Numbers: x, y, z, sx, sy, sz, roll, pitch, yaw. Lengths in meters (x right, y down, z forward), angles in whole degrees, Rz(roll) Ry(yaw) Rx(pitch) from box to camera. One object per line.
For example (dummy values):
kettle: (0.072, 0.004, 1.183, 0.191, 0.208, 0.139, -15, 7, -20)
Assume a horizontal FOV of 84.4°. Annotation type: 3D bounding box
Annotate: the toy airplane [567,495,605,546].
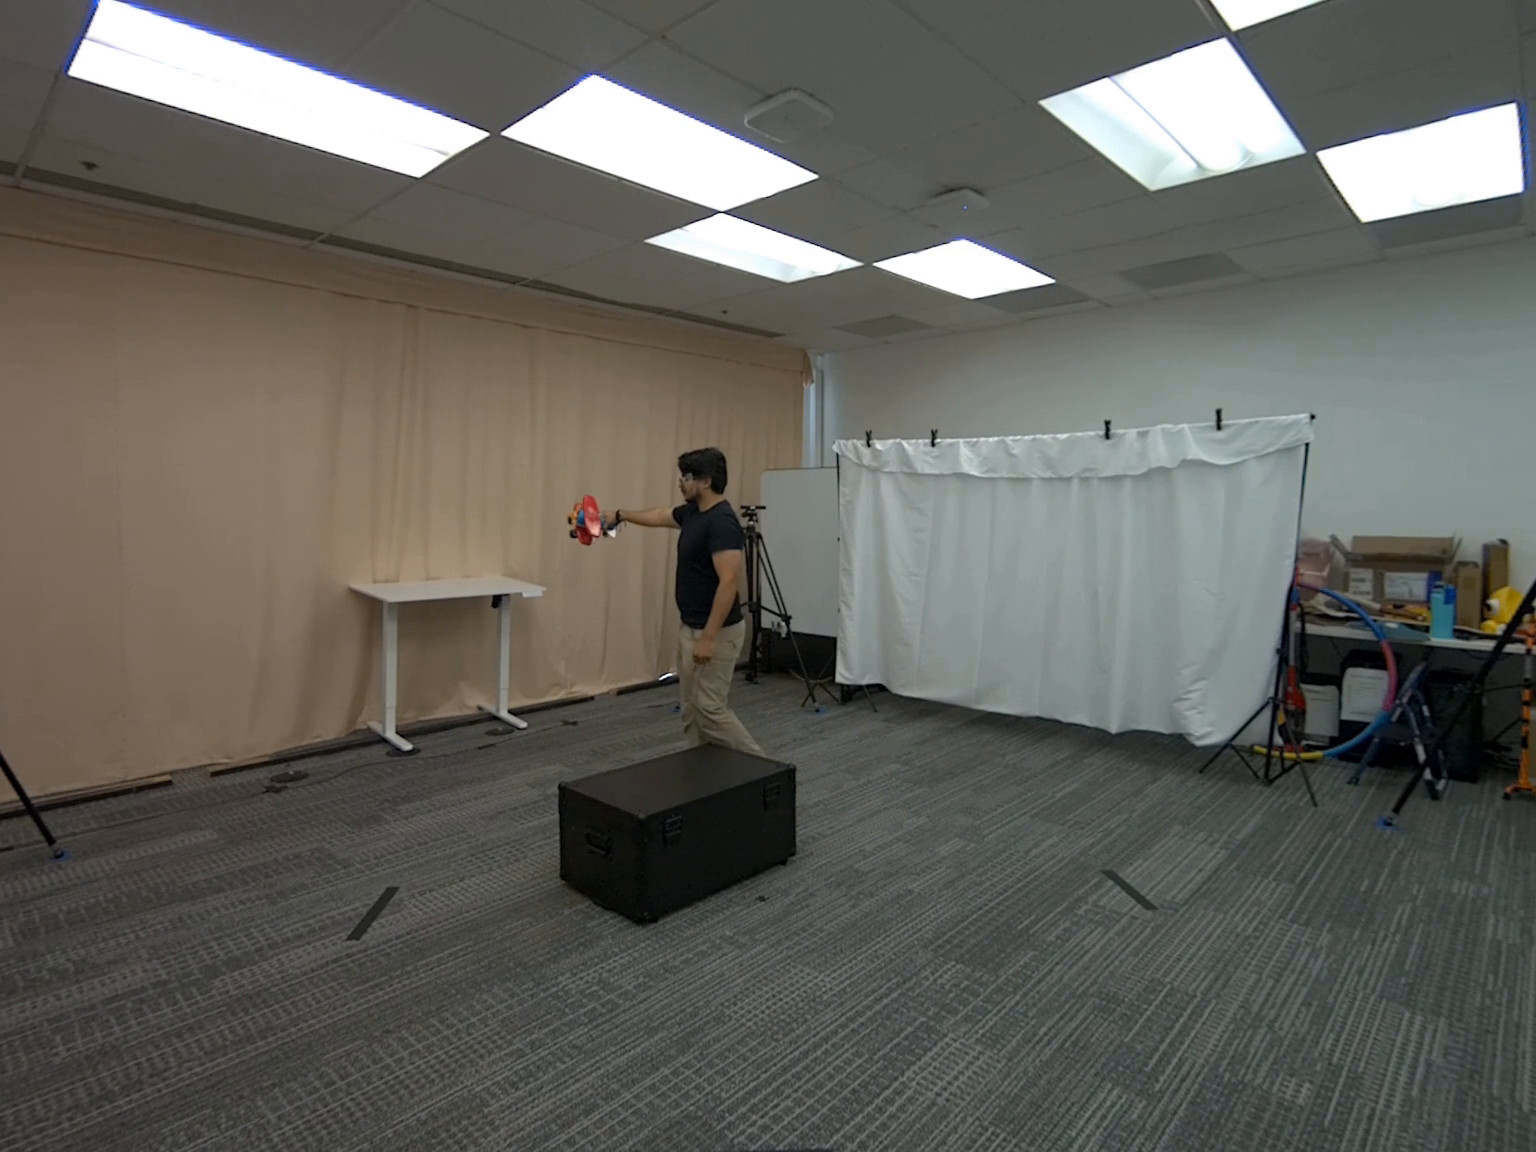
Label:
toy airplane: (-0.888, -0.287, 4.307, 0.254, 0.254, 0.157, -29, -14, -43)
